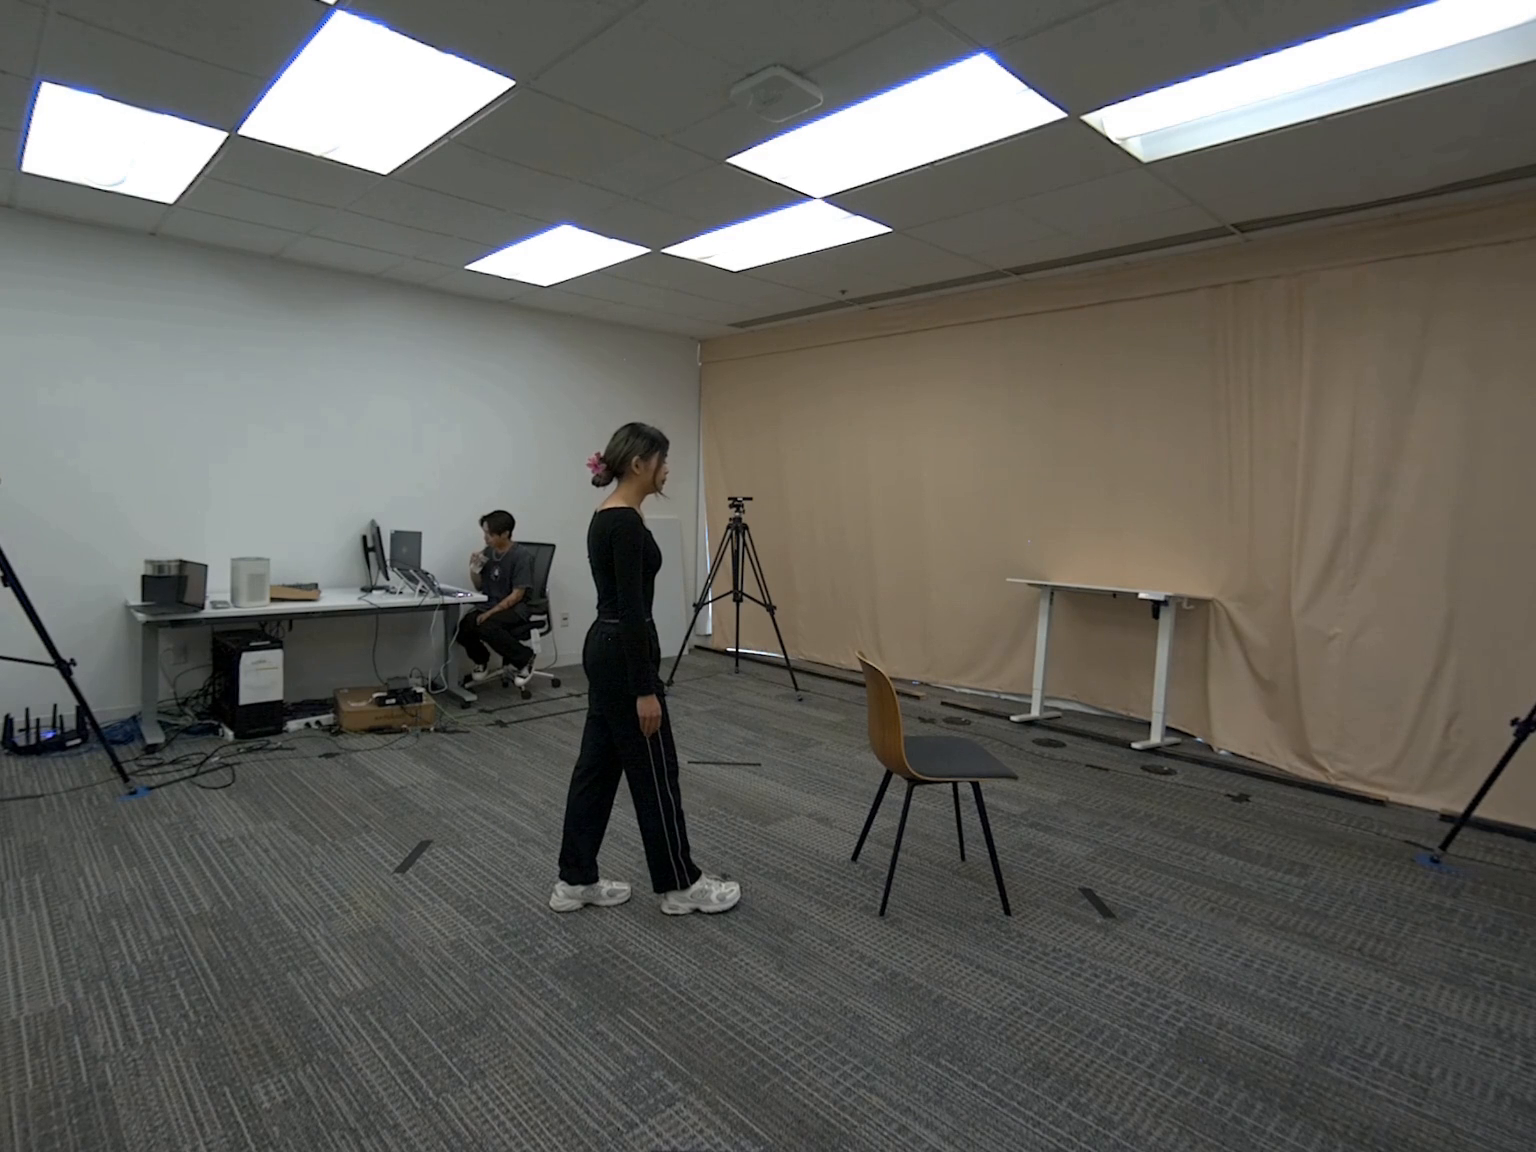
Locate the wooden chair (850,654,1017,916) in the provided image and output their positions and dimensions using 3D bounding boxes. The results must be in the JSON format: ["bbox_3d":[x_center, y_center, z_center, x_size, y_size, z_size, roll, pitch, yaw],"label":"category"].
[{"bbox_3d":[0.589,0.704,3.035,0.521,0.875,0.481,-2,3,-5],"label":"wooden chair"}]
